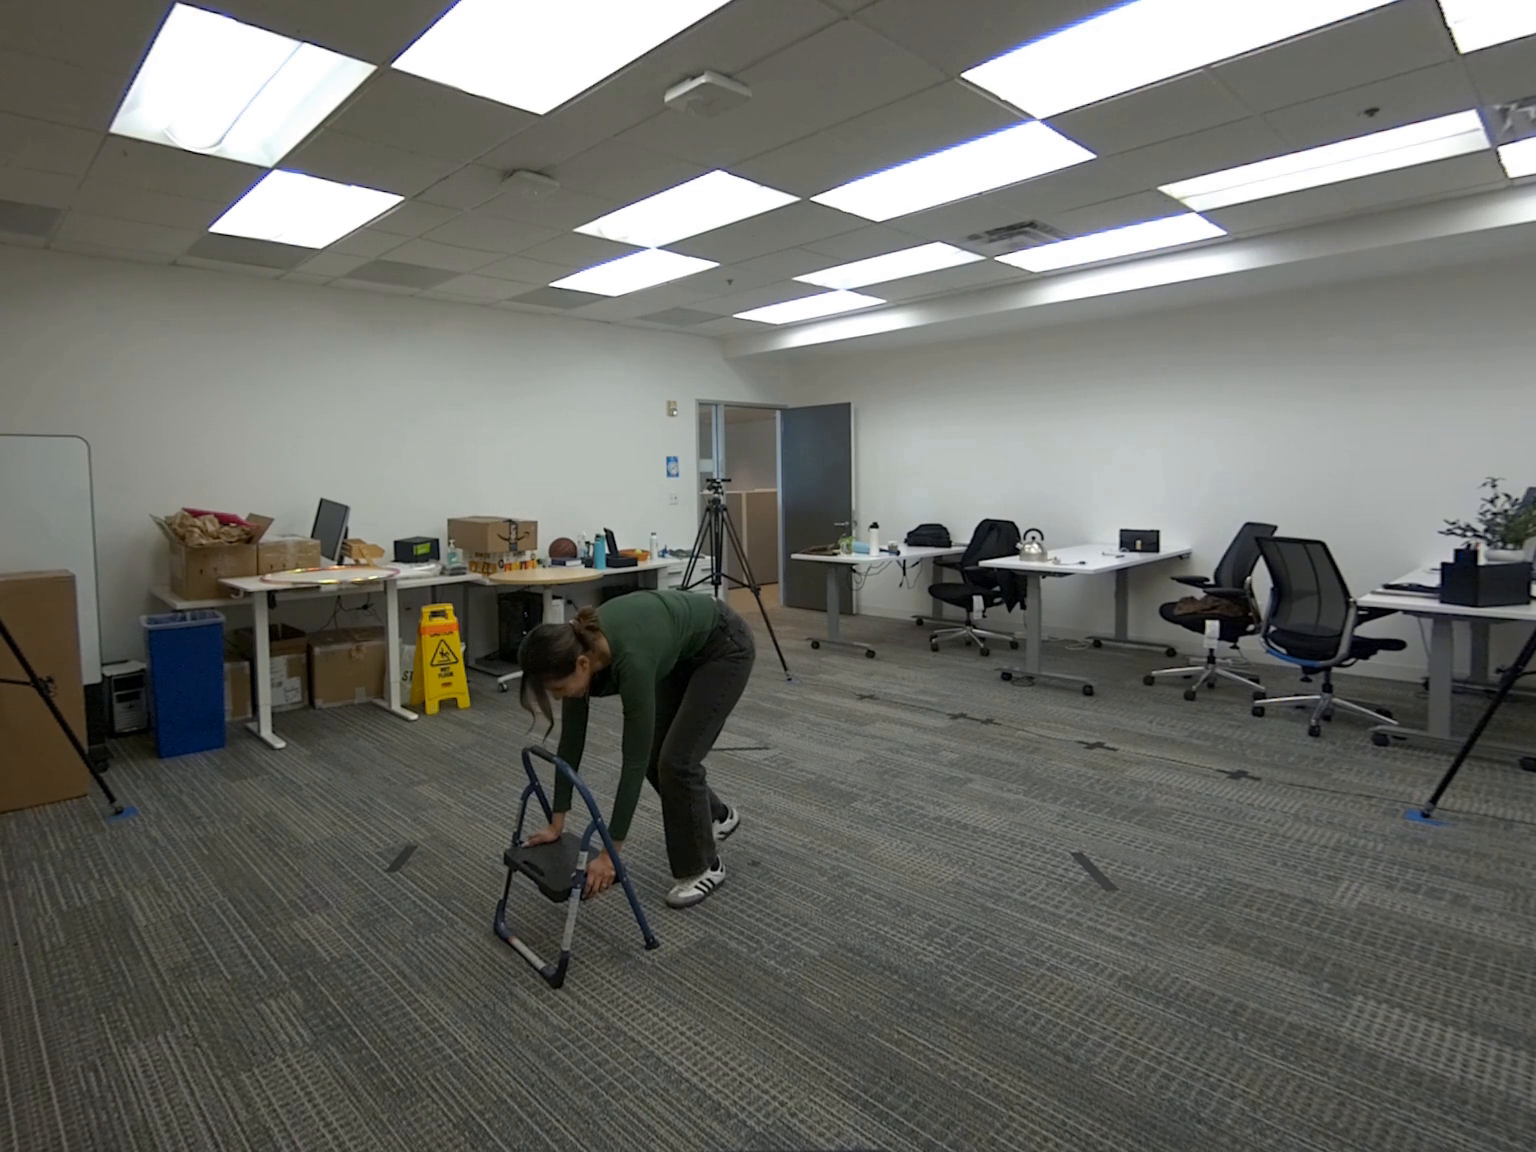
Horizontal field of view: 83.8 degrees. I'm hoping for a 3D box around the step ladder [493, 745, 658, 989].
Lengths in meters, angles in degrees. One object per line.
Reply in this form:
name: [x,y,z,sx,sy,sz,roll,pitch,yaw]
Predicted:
step ladder: [-0.599,0.814,2.603,0.340,0.604,0.444,-5,6,-41]
